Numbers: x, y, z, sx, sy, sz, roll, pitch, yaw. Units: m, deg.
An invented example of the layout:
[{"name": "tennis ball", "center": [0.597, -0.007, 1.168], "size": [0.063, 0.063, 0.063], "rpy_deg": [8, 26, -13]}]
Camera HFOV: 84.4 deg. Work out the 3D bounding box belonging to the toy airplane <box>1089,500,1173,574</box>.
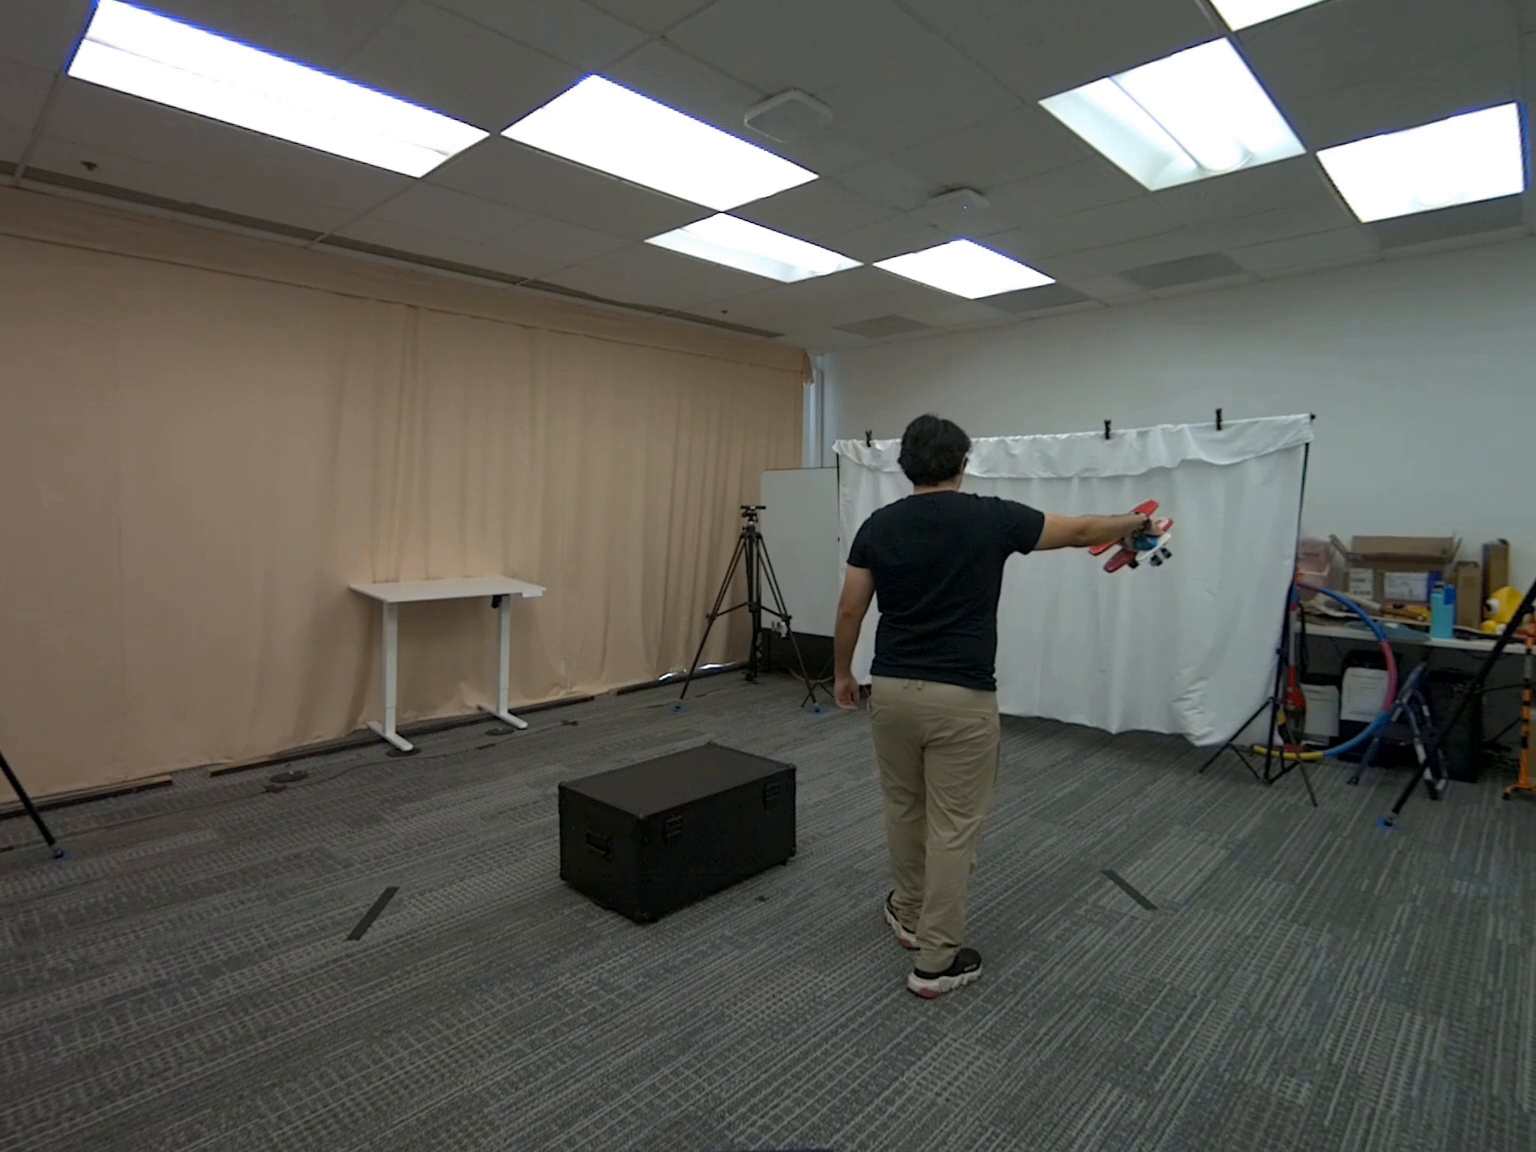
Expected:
[{"name": "toy airplane", "center": [1.204, -0.120, 2.670], "size": [0.249, 0.157, 0.260], "rpy_deg": [-40, -3, -19]}]
